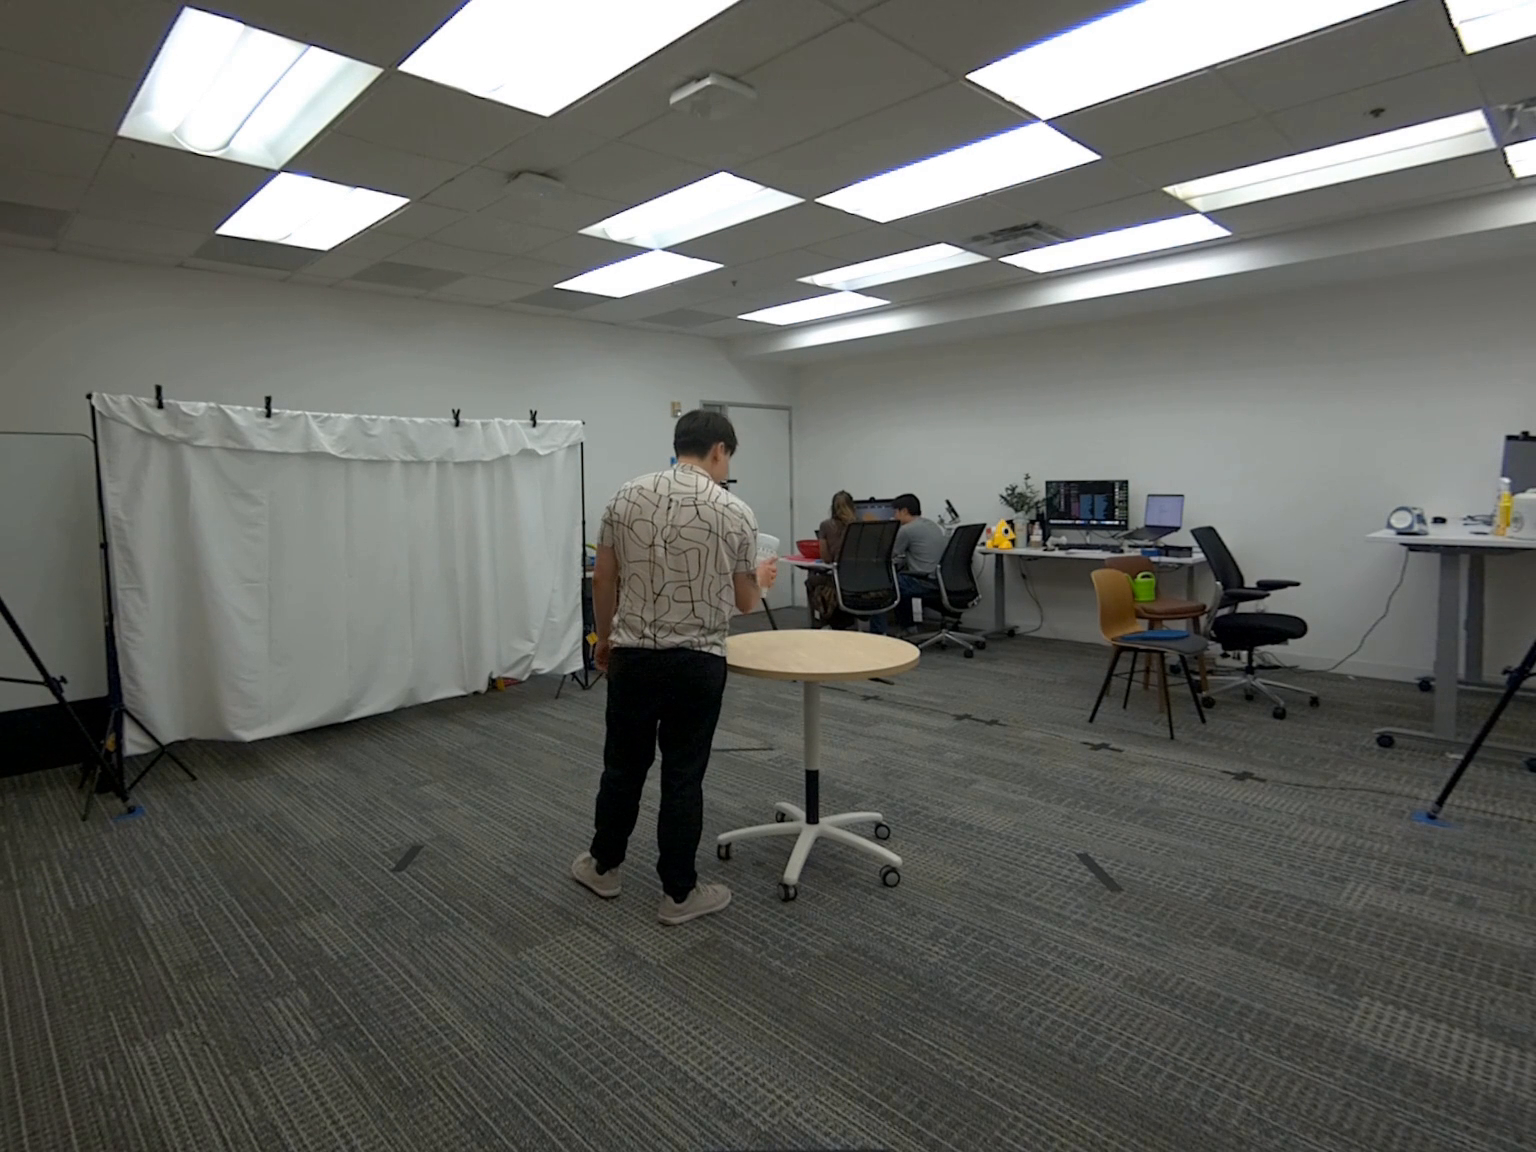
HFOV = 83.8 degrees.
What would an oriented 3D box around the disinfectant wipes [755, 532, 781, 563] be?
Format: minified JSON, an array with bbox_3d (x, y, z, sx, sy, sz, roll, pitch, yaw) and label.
[{"bbox_3d":[-0.028,-0.032,3.092,0.118,0.219,0.116,12,-12,1],"label":"disinfectant wipes"}]
